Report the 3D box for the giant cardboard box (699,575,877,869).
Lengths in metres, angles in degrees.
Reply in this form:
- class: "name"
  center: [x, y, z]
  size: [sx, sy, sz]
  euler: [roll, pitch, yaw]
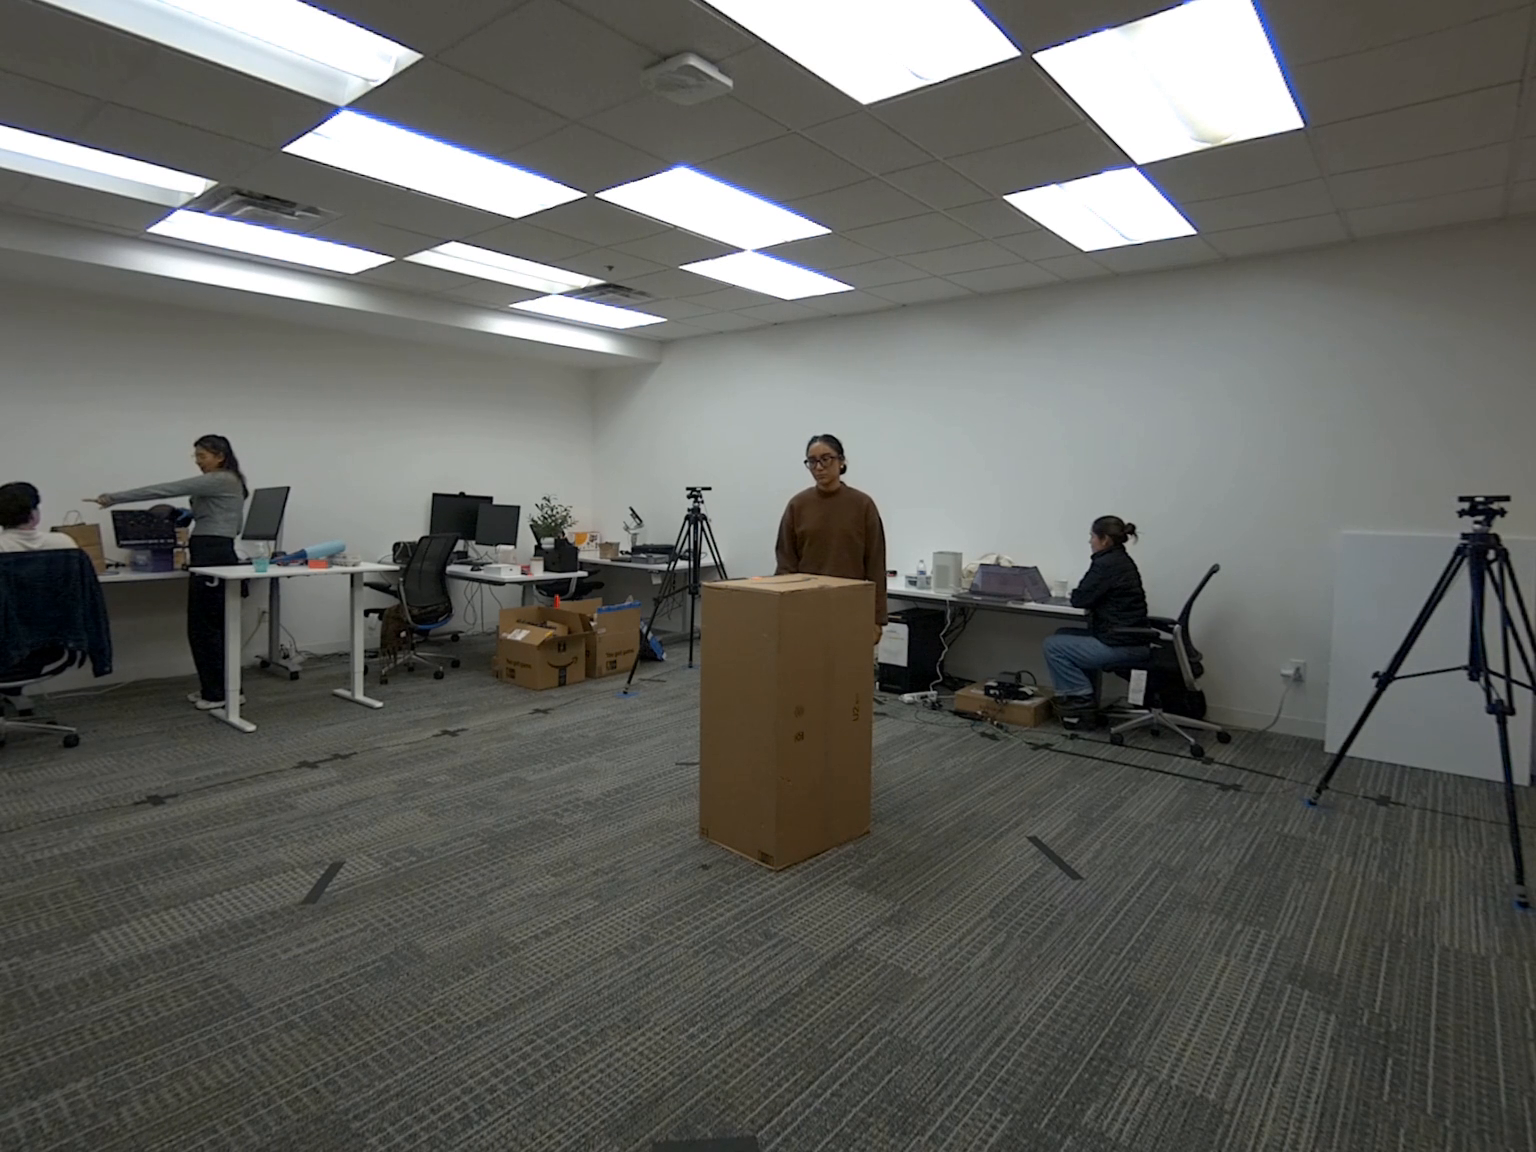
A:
- class: "giant cardboard box"
  center: [0.066, 0.533, 3.409]
  size: [0.441, 1.023, 0.560]
  euler: [4, 5, 44]
